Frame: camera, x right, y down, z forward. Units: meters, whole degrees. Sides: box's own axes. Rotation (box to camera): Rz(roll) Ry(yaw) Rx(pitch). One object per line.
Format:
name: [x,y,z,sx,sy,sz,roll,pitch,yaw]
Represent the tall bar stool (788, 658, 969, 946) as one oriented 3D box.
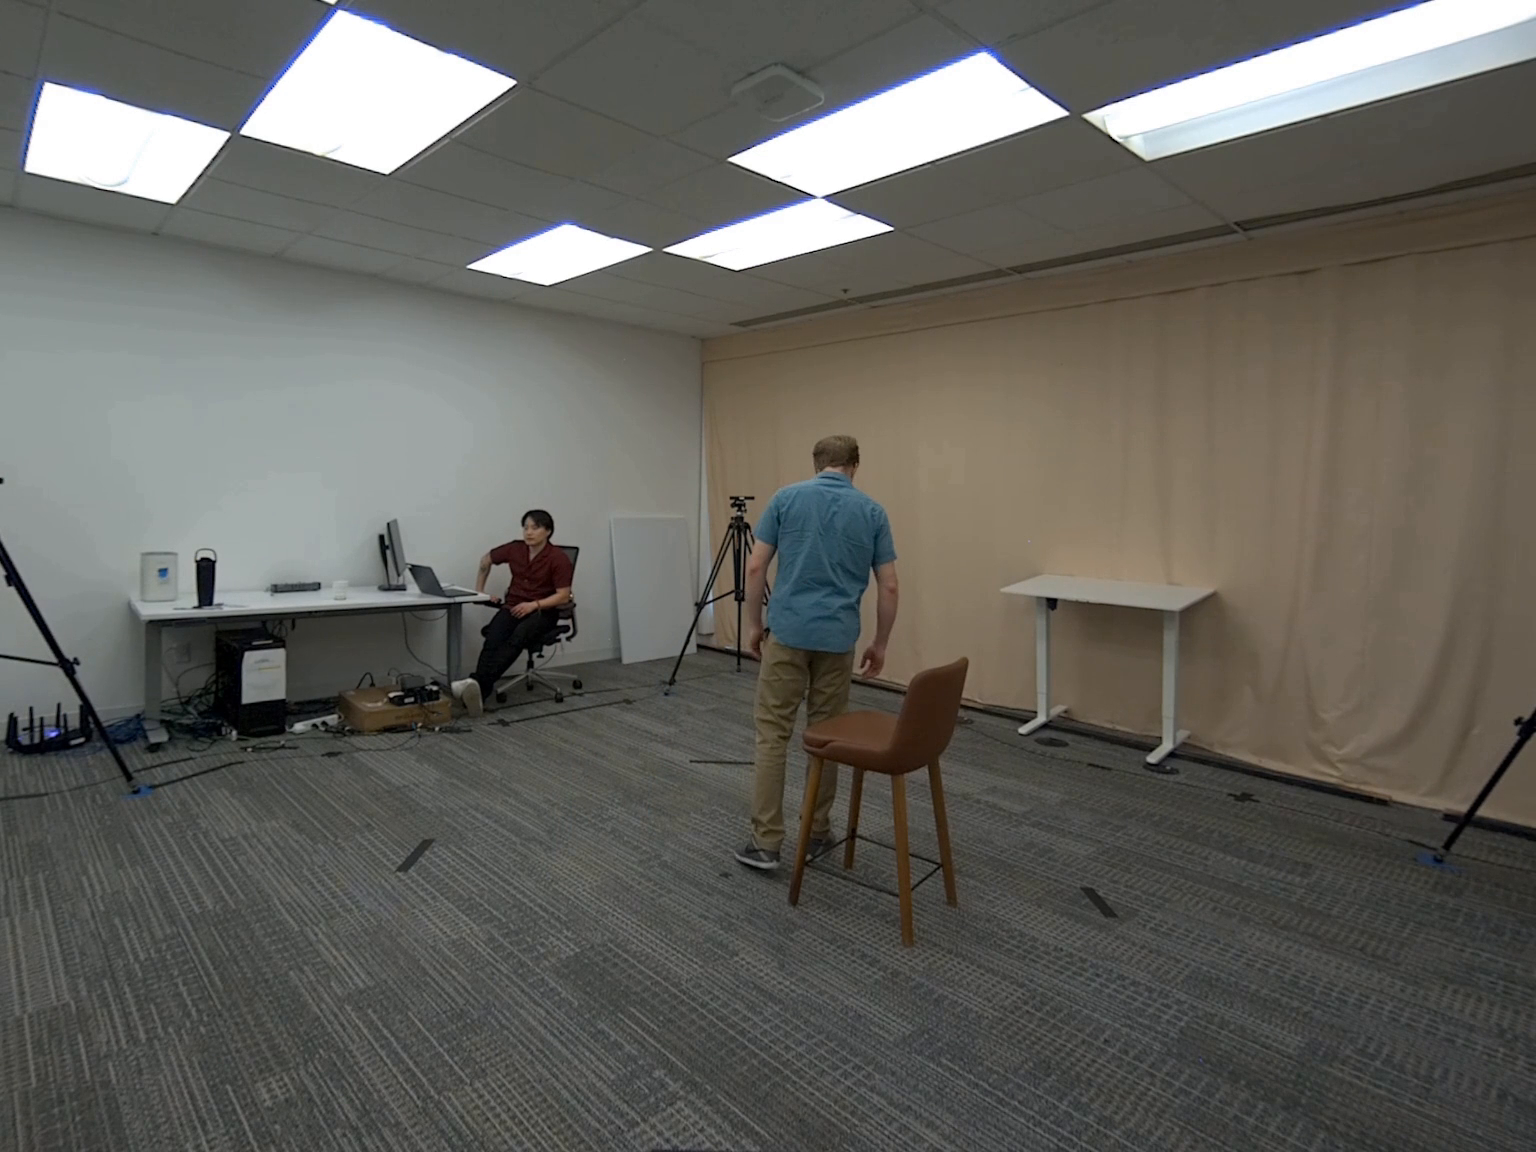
tall bar stool: [0.379,0.702,2.878,0.479,0.886,0.447,7,7,36]
